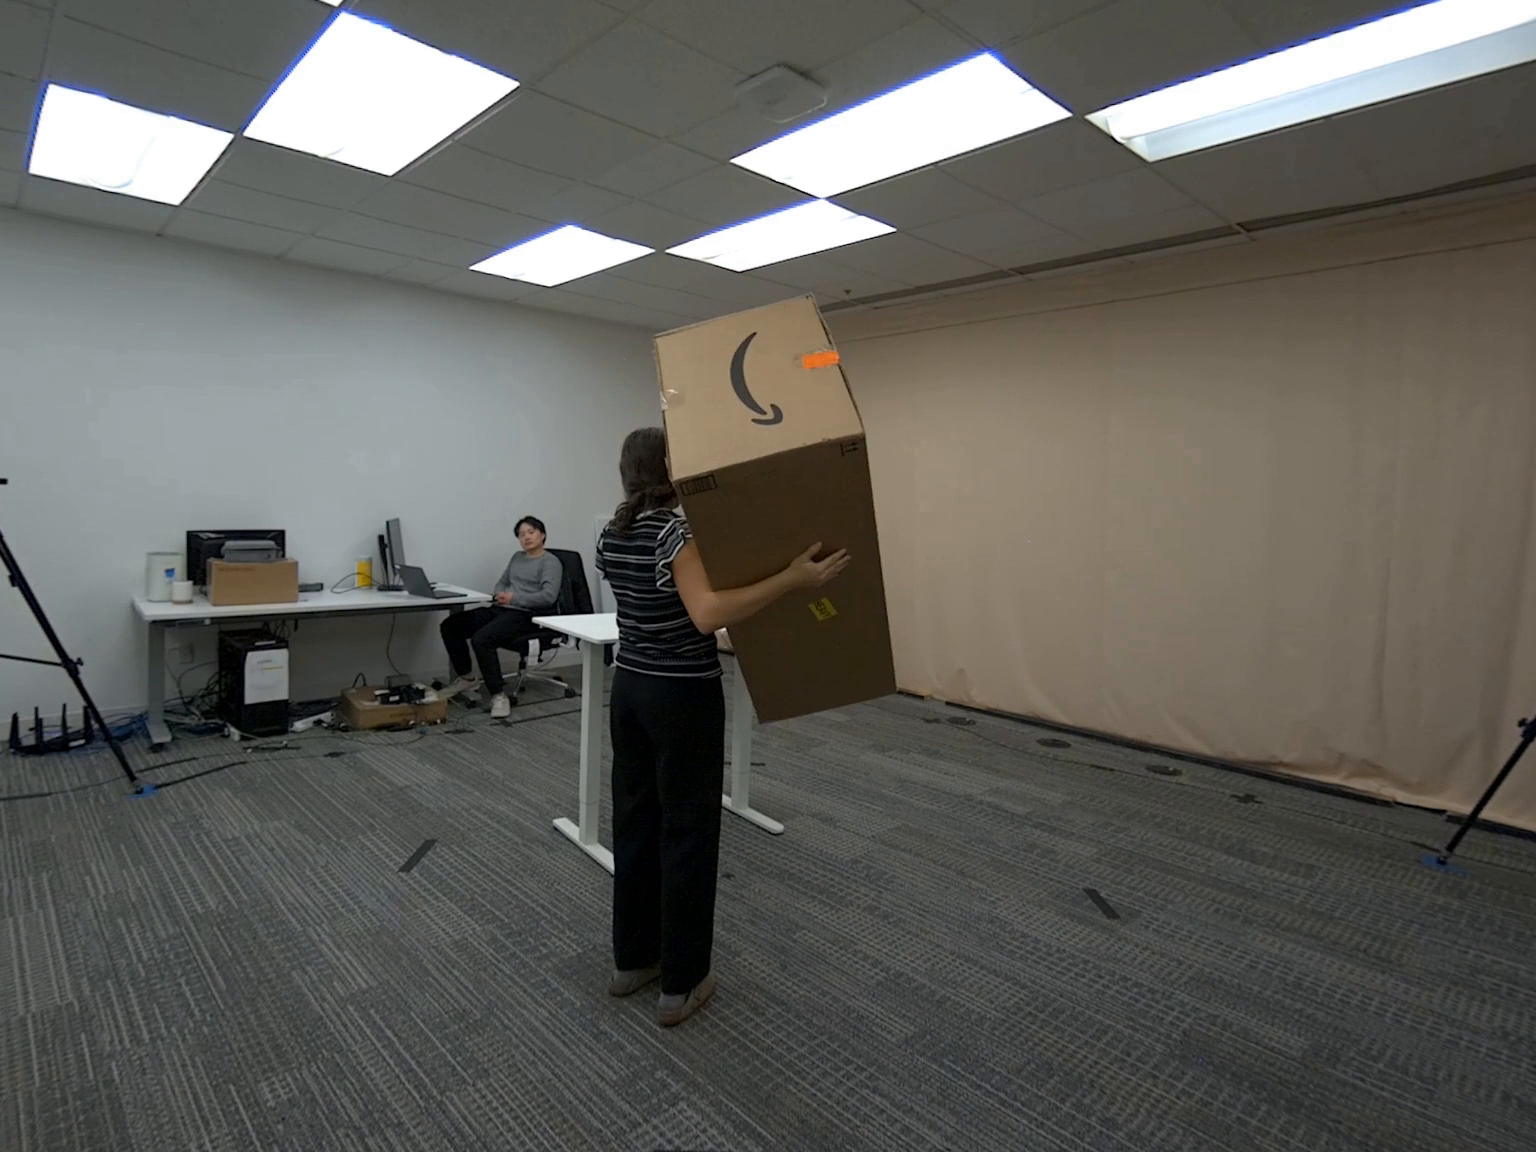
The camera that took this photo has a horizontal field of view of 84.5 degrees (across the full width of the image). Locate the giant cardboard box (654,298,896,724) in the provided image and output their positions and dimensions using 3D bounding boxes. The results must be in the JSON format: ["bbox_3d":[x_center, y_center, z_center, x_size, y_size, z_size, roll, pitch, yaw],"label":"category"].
[{"bbox_3d":[0.041,-0.136,2.326,0.427,0.592,0.997,-13,-42,2],"label":"giant cardboard box"}]
